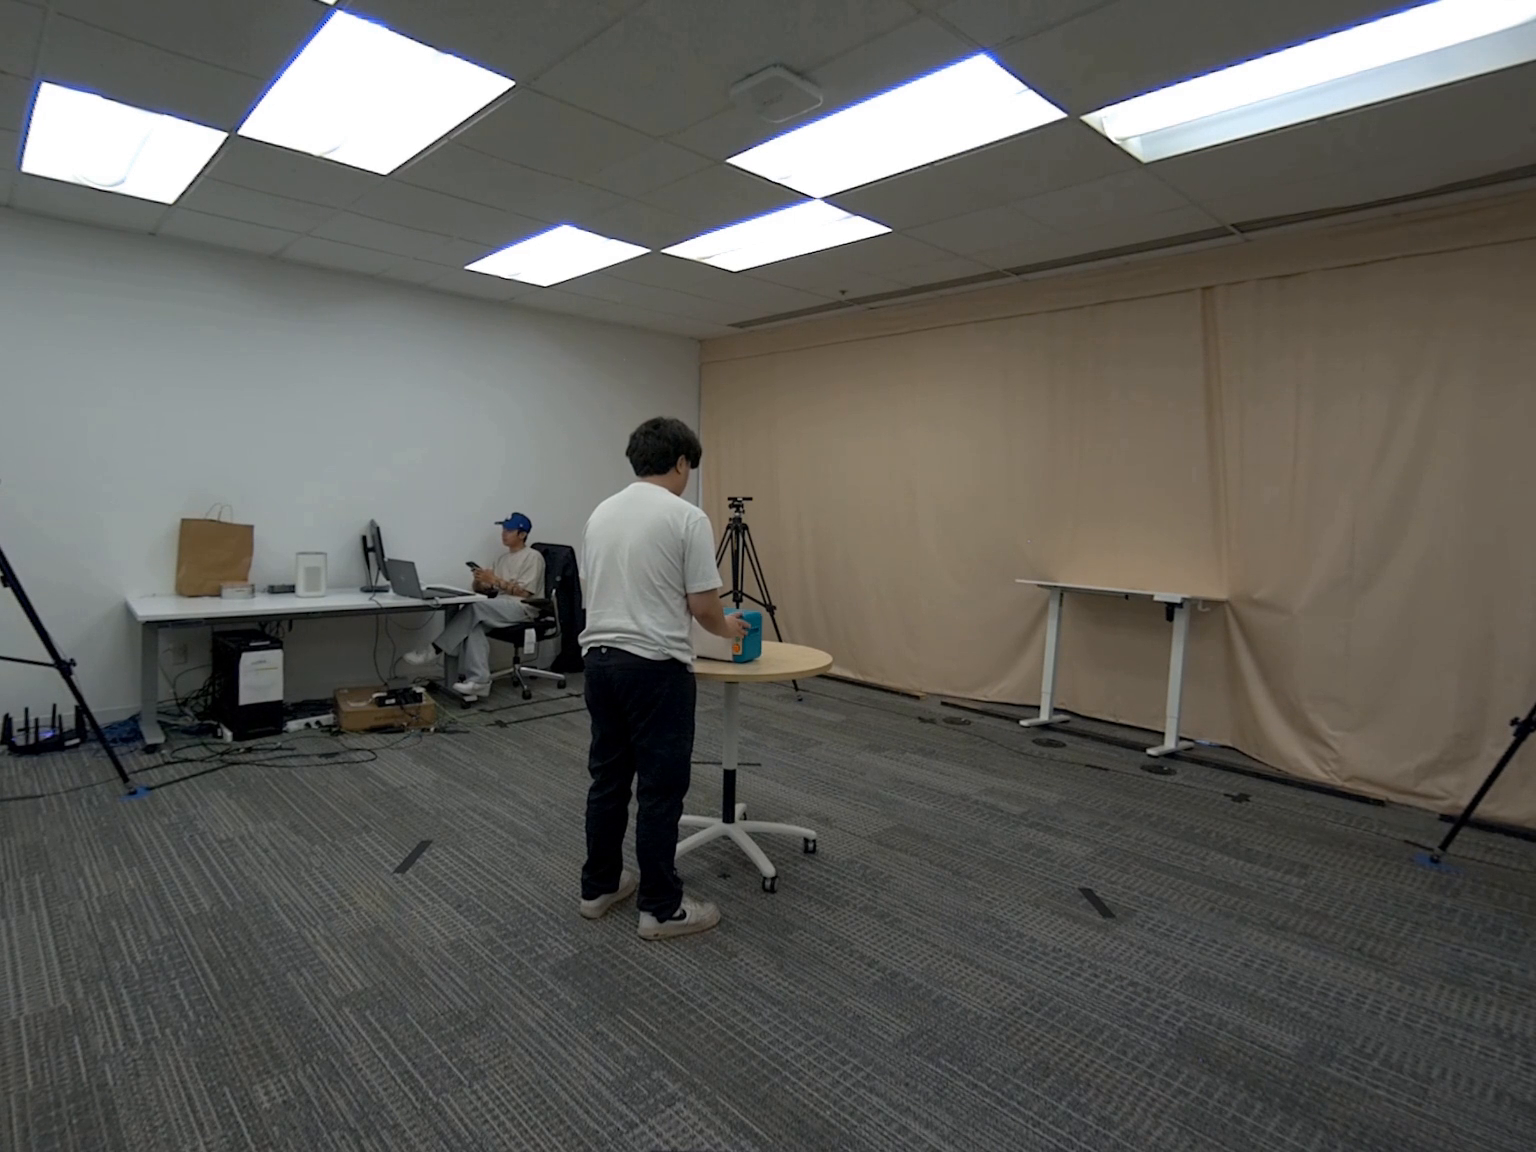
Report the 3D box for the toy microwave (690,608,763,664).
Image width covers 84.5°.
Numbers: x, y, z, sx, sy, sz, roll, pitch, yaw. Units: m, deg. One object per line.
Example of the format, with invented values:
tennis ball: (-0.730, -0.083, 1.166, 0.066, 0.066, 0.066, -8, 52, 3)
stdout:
toy microwave: (-0.182, 0.218, 3.143, 0.293, 0.184, 0.149, 4, 4, 31)
